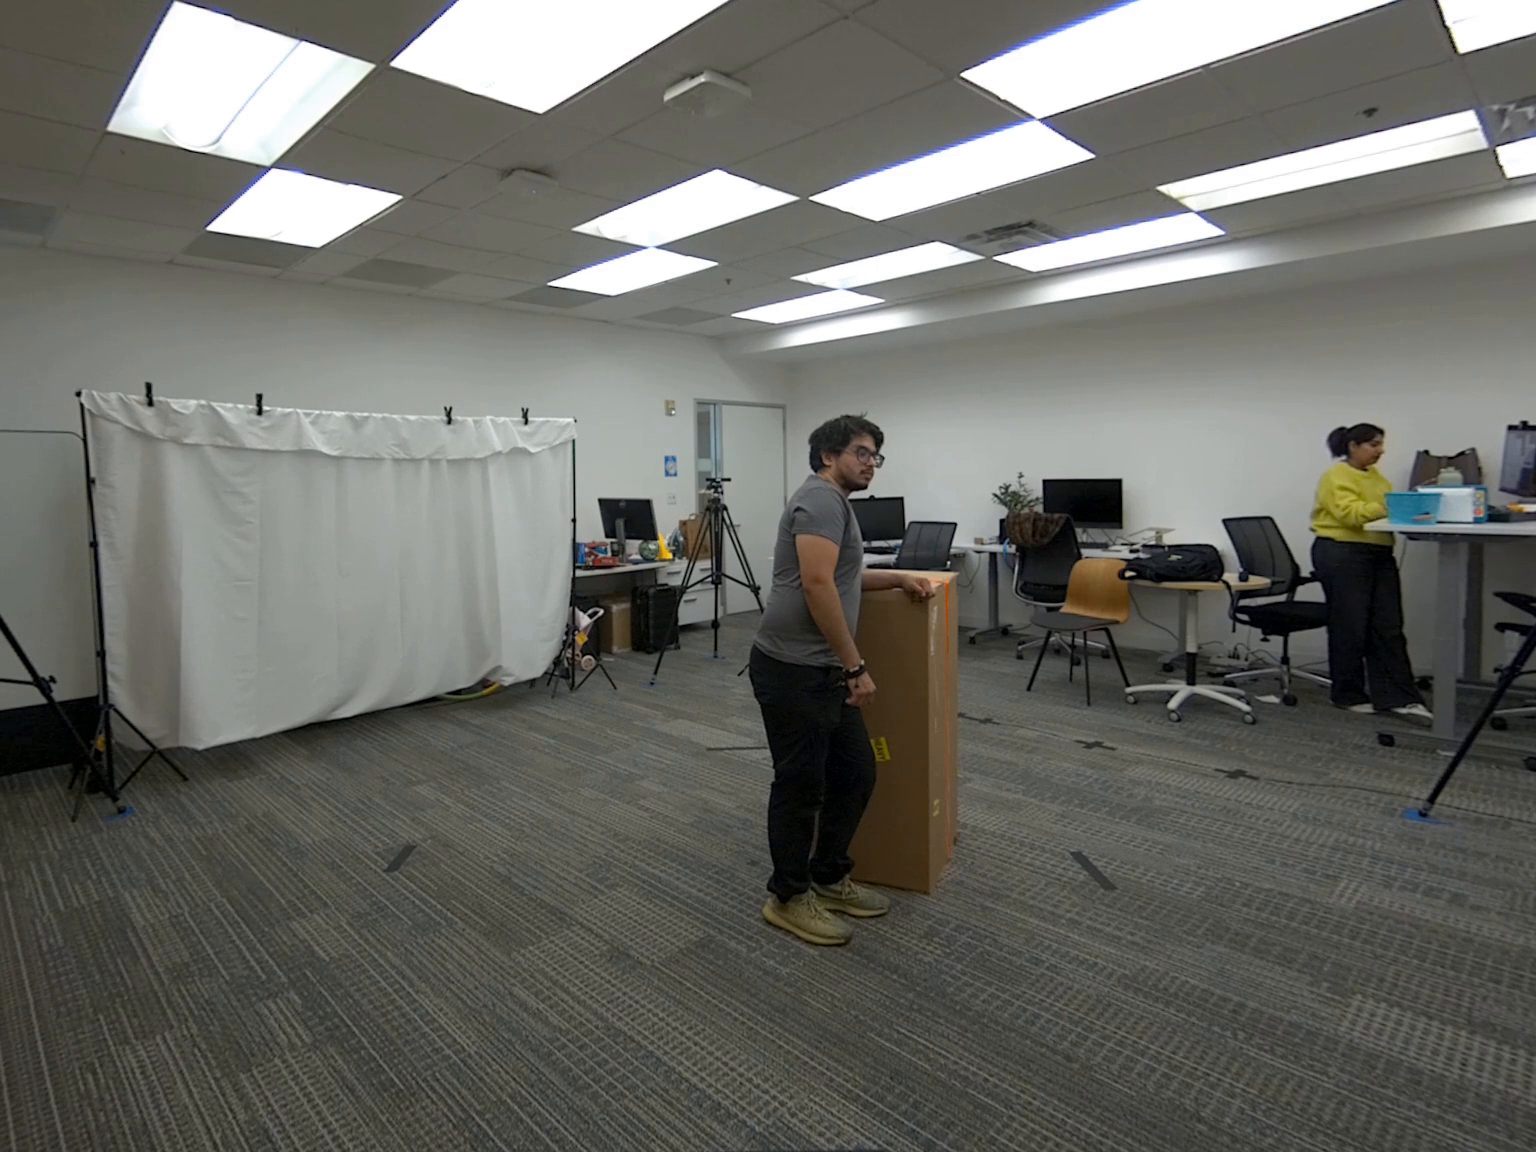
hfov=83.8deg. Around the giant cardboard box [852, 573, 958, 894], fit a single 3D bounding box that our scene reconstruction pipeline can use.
[{"bbox_3d":[0.454,0.520,3.166,0.436,1.022,0.567,1,4,24],"label":"giant cardboard box"}]
